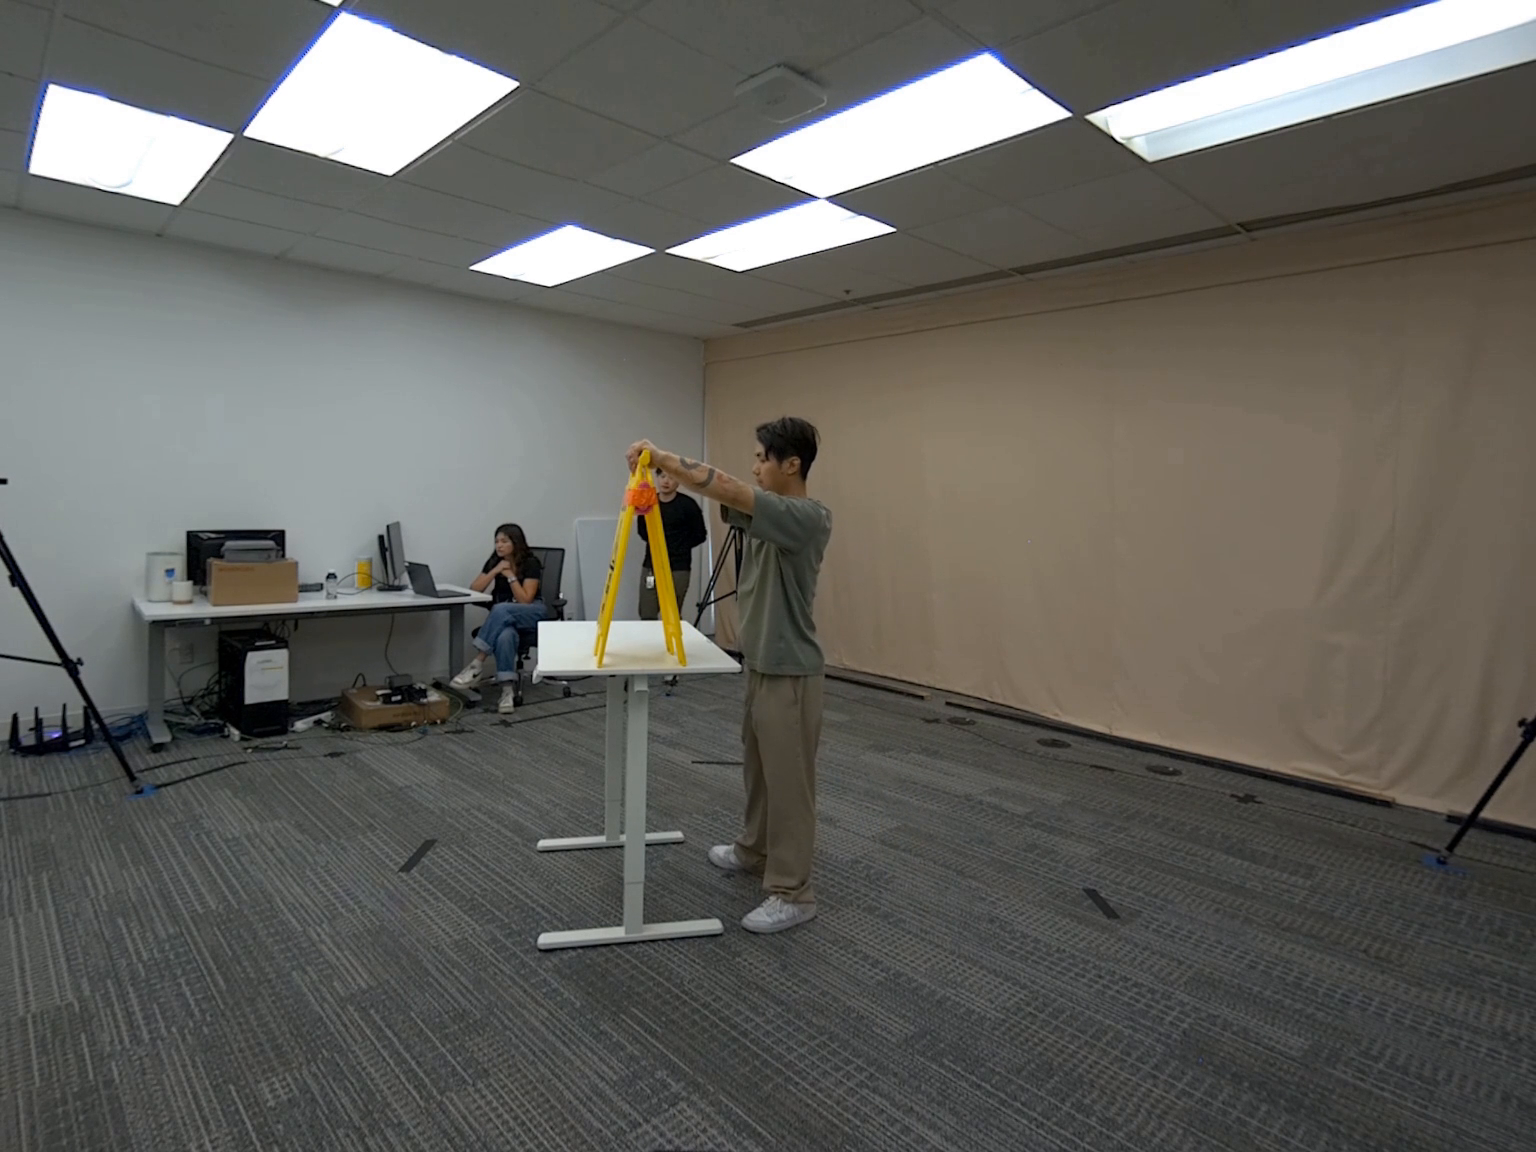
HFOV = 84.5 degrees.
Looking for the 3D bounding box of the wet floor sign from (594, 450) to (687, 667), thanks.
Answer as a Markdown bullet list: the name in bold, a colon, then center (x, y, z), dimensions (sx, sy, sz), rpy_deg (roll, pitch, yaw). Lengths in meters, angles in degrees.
- **wet floor sign**: center (-0.406, -0.063, 2.611), dimensions (0.286, 0.645, 0.286), rpy_deg (1, 2, -15)
